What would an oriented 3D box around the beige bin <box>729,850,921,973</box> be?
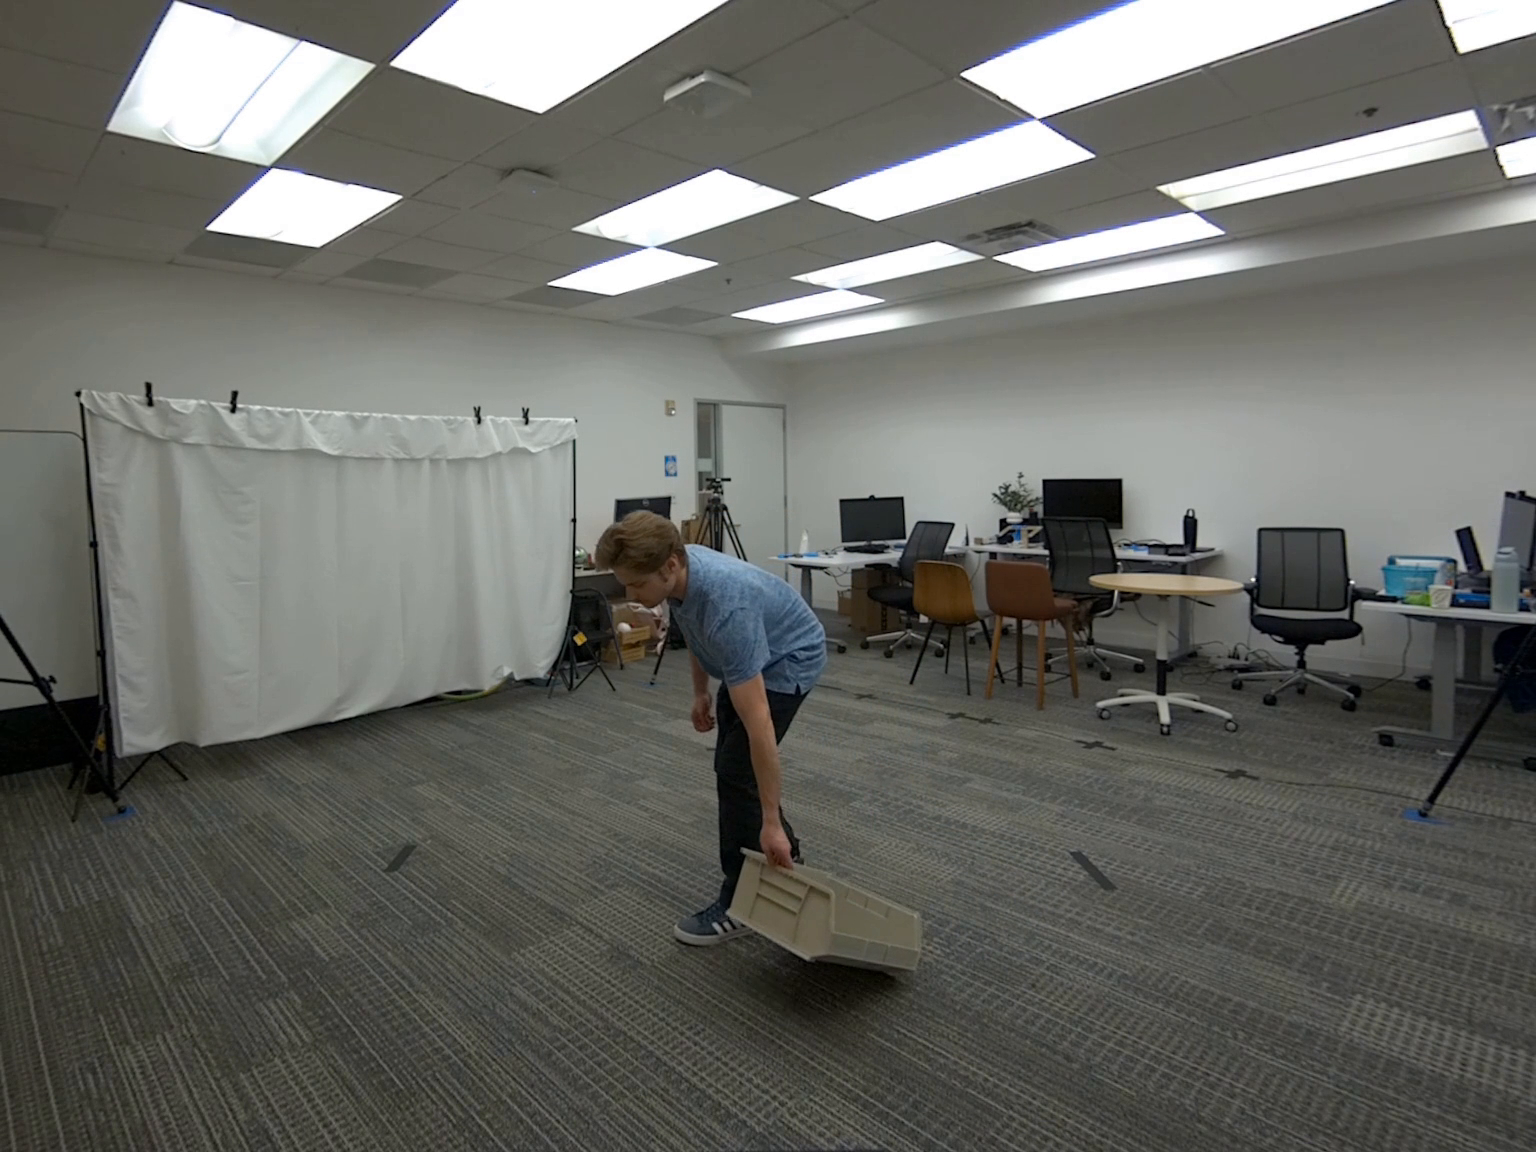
[{"bbox_3d":[0.166,0.947,2.380,0.389,0.190,0.406,5,-19,47],"label":"beige bin"}]
